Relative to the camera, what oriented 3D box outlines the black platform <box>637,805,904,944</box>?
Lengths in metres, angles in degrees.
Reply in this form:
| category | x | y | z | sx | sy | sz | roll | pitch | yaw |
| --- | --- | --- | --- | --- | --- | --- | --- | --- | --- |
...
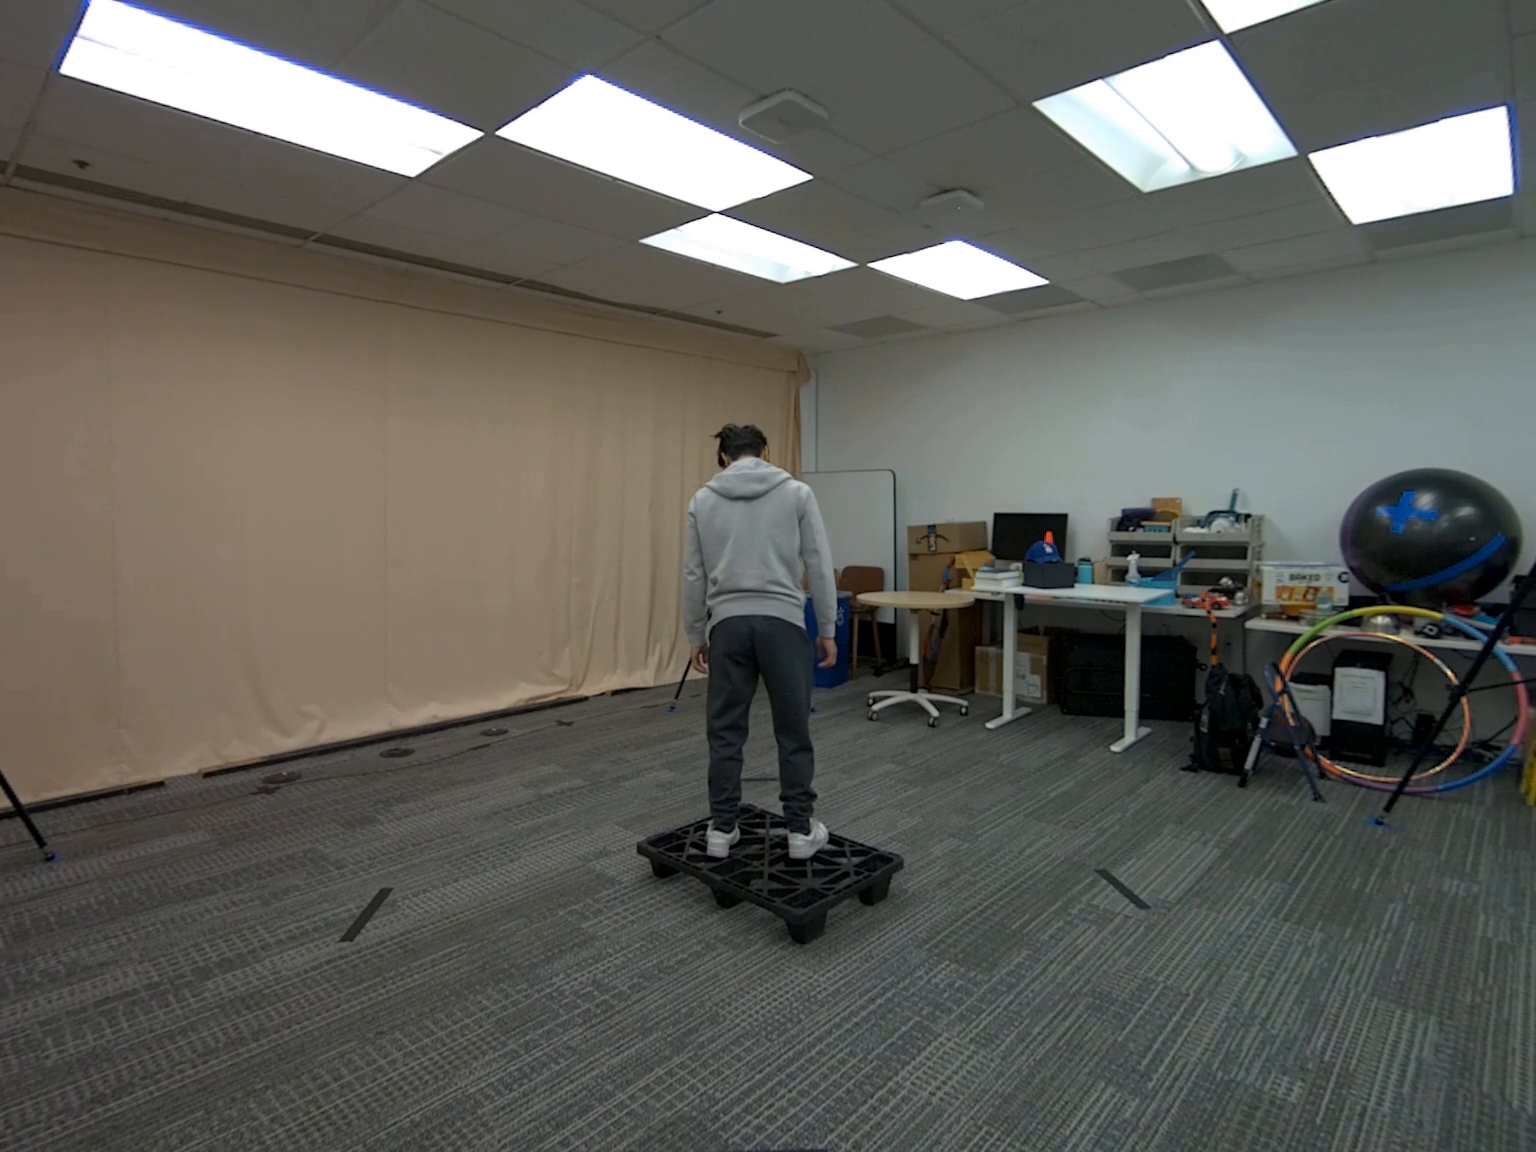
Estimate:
| category | x | y | z | sx | sy | sz | roll | pitch | yaw |
| --- | --- | --- | --- | --- | --- | --- | --- | --- | --- |
| black platform | -0.002 | 1.067 | 3.080 | 0.832 | 0.143 | 0.587 | 4 | 7 | 44 |
